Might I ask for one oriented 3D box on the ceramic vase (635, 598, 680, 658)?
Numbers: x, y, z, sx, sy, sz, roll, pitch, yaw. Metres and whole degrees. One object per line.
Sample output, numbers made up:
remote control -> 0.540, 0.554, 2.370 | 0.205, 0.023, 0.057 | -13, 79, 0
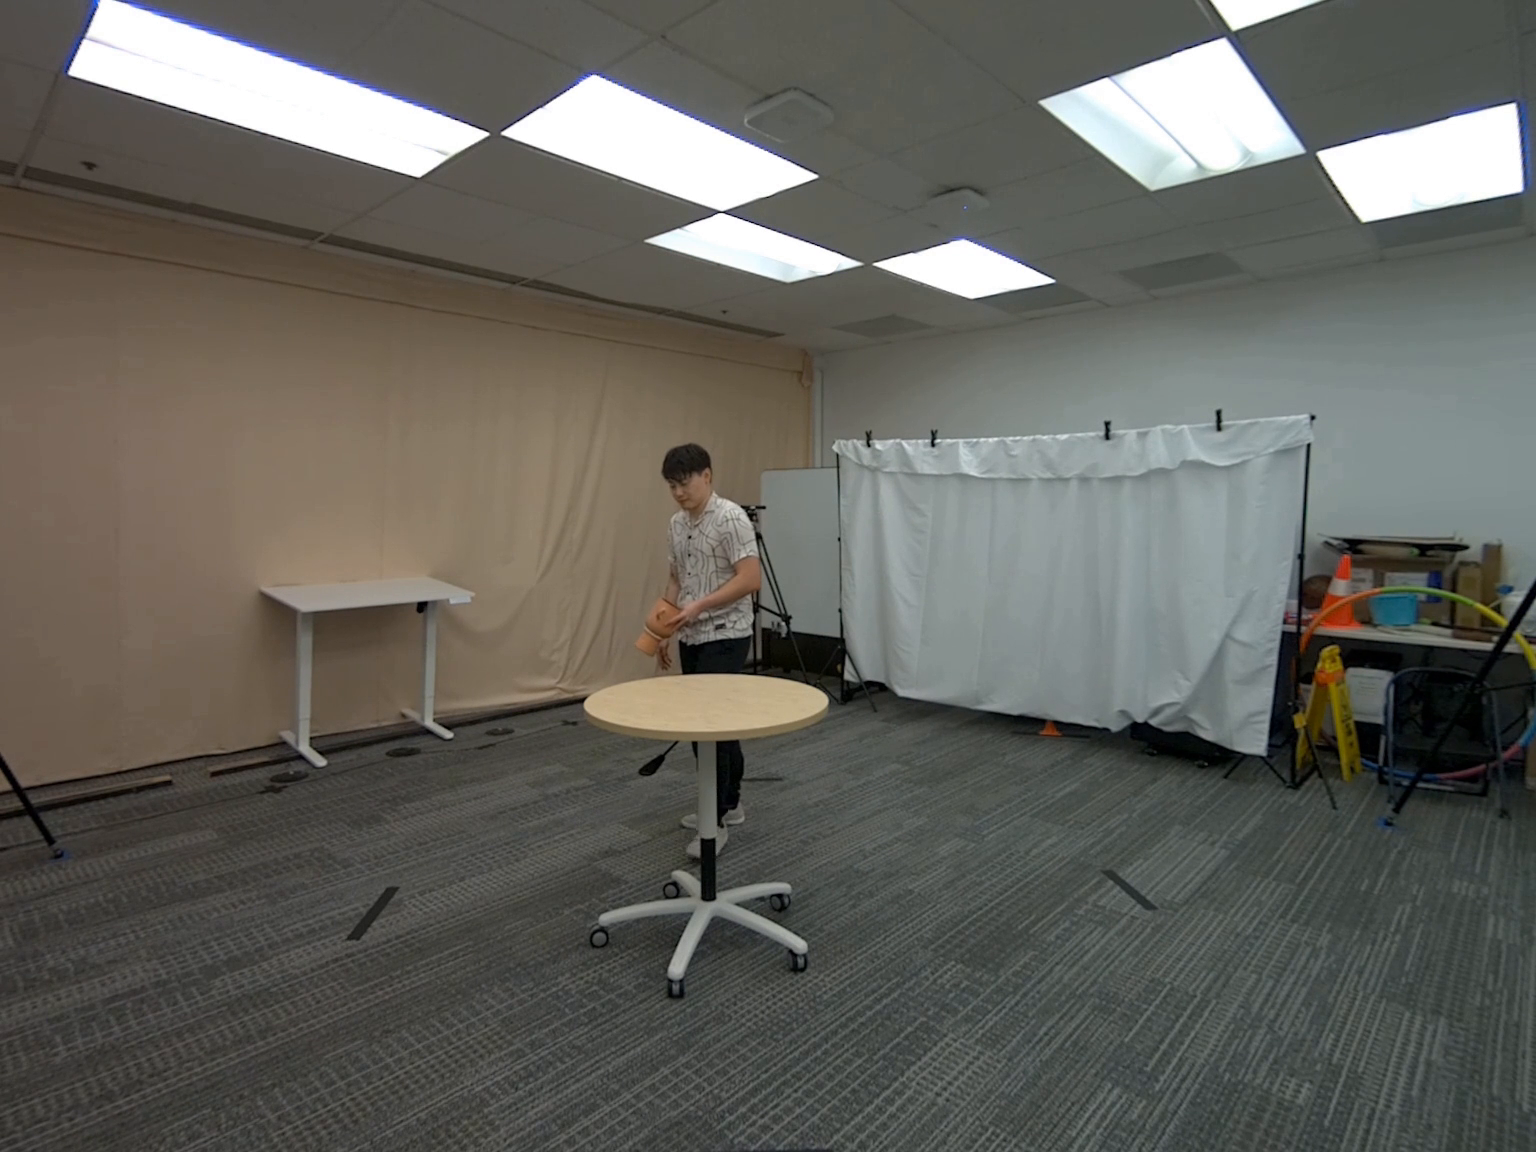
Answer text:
ceramic vase -> -0.458, 0.211, 3.437 | 0.153, 0.220, 0.139 | 31, 0, -34
